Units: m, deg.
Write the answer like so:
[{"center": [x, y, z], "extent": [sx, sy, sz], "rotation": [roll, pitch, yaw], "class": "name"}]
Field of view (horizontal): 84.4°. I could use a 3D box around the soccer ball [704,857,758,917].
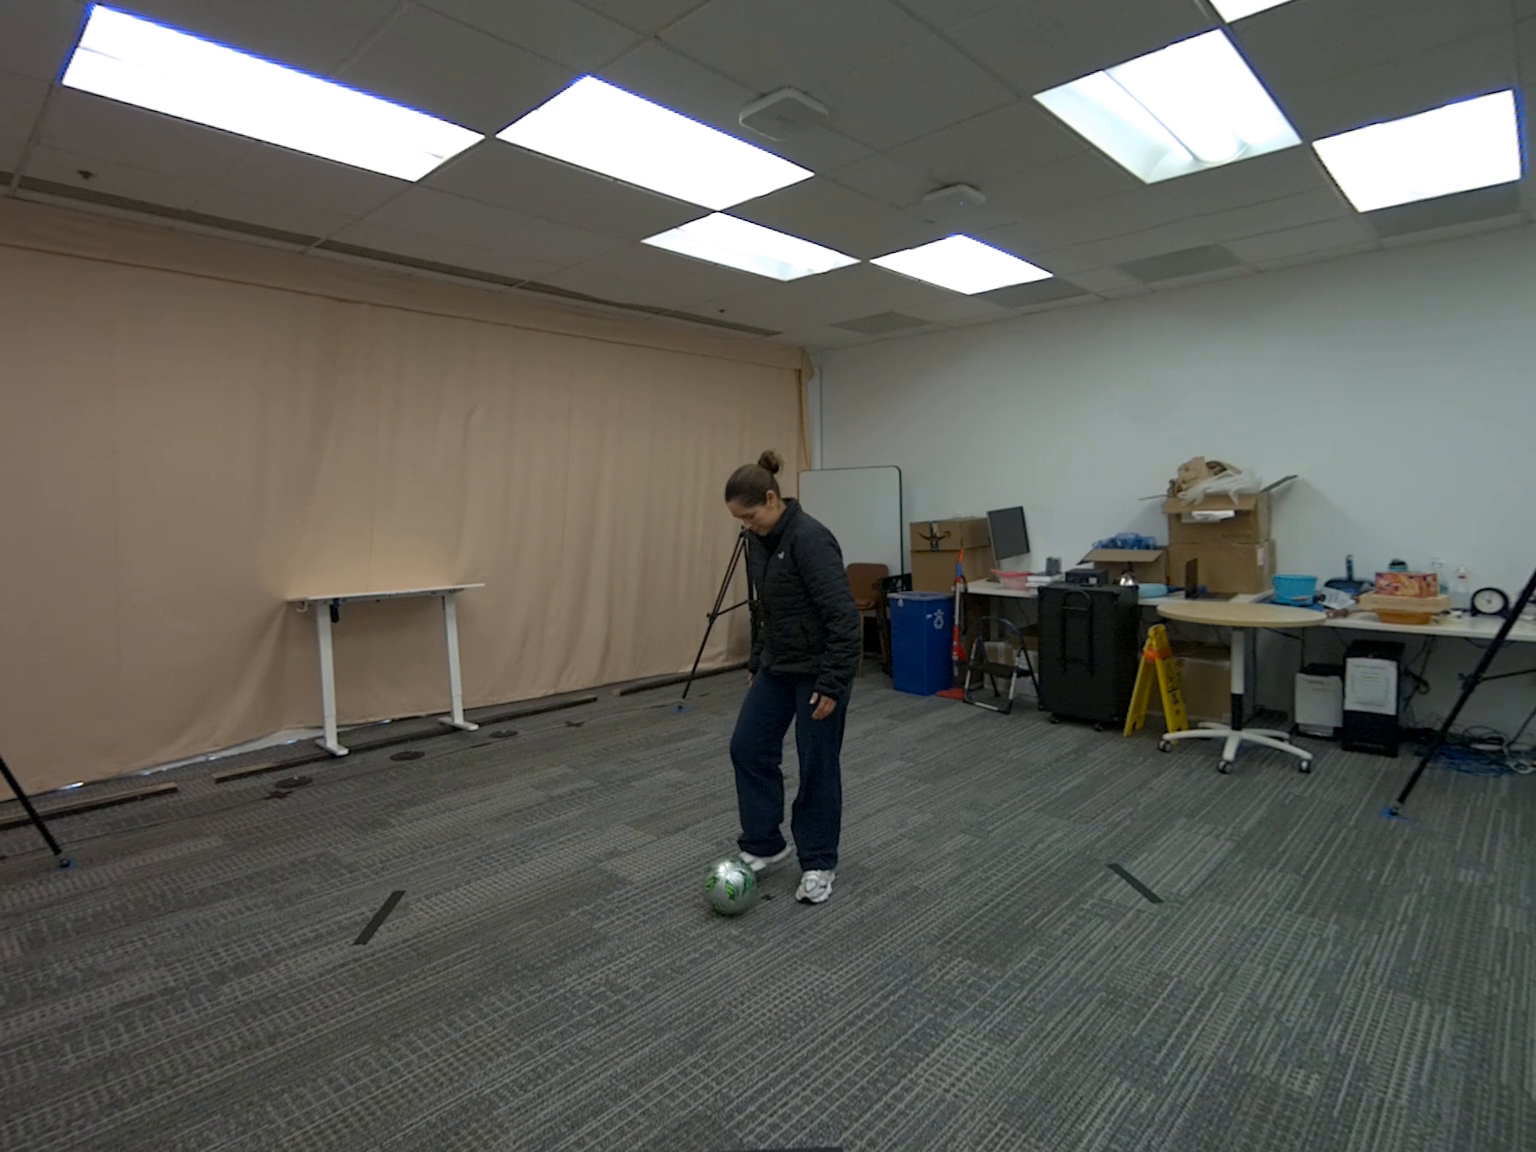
[{"center": [-0.130, 1.055, 2.873], "extent": [0.187, 0.187, 0.188], "rotation": [-1, 4, -2], "class": "soccer ball"}]
